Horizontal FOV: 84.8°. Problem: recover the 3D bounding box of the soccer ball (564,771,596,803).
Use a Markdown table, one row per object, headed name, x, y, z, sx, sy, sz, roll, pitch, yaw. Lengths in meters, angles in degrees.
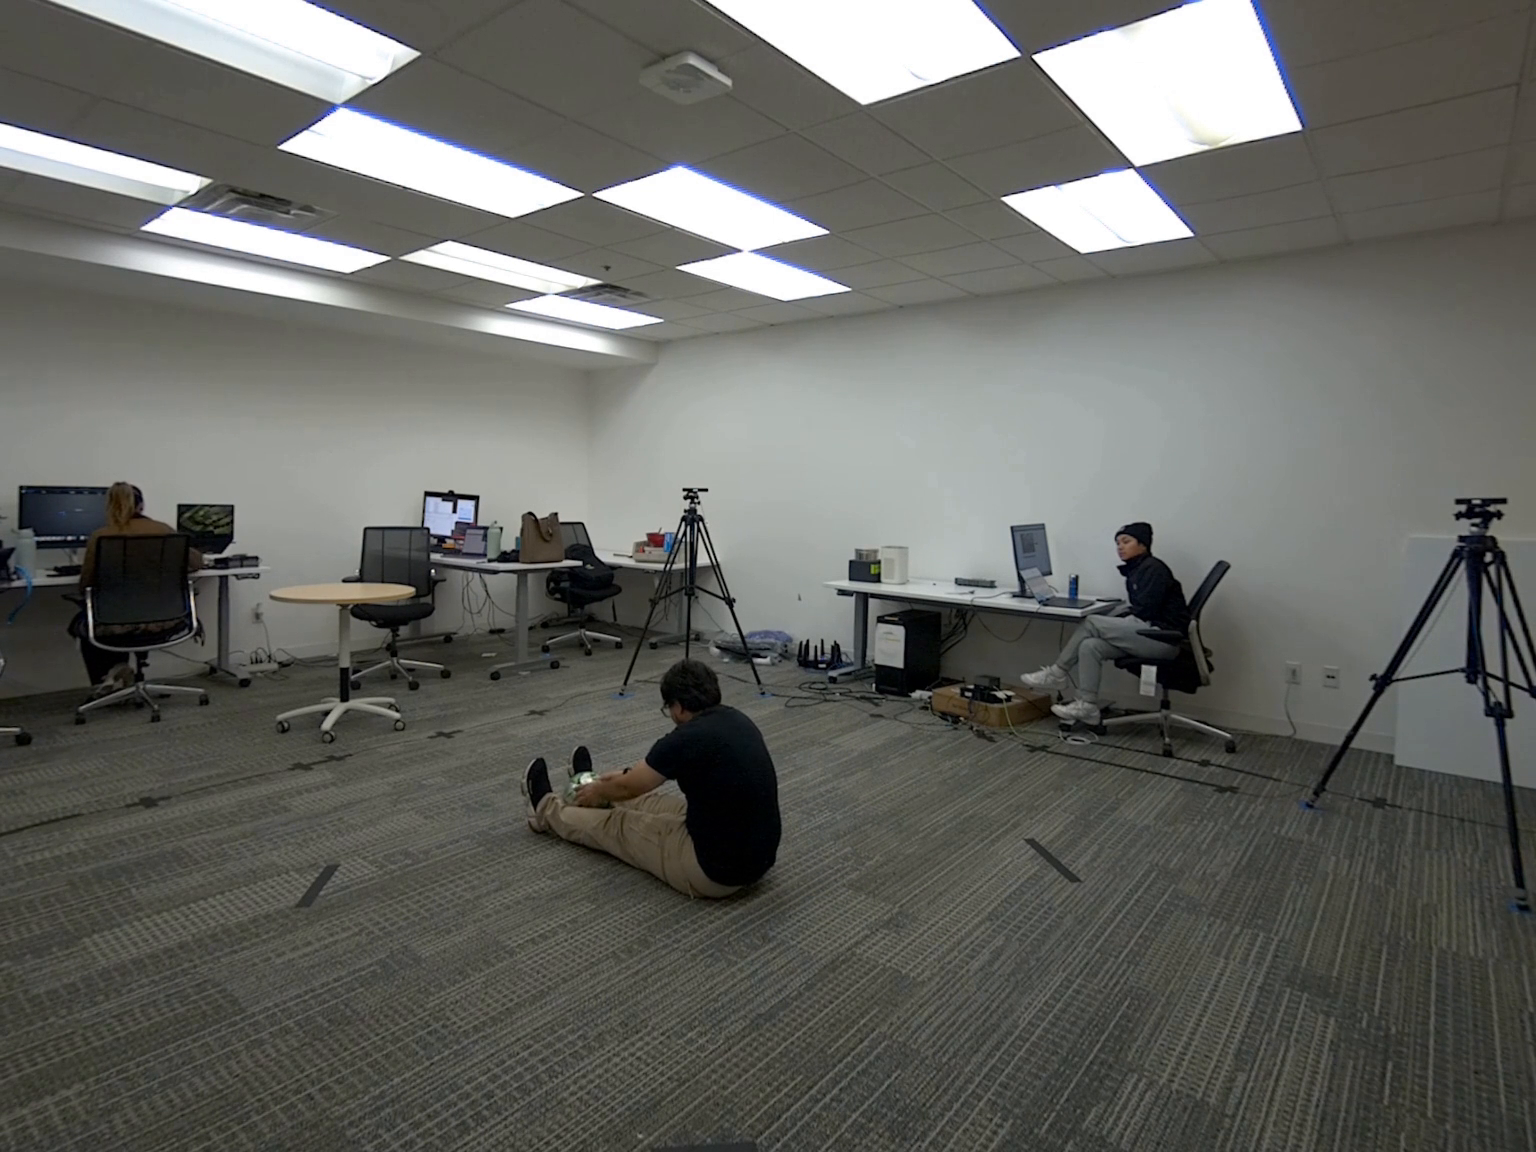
| name | x | y | z | sx | sy | sz | roll | pitch | yaw |
| --- | --- | --- | --- | --- | --- | --- | --- | --- | --- |
| soccer ball | -0.736 | 0.881 | 3.448 | 0.187 | 0.187 | 0.188 | 0 | 4 | -2 |
